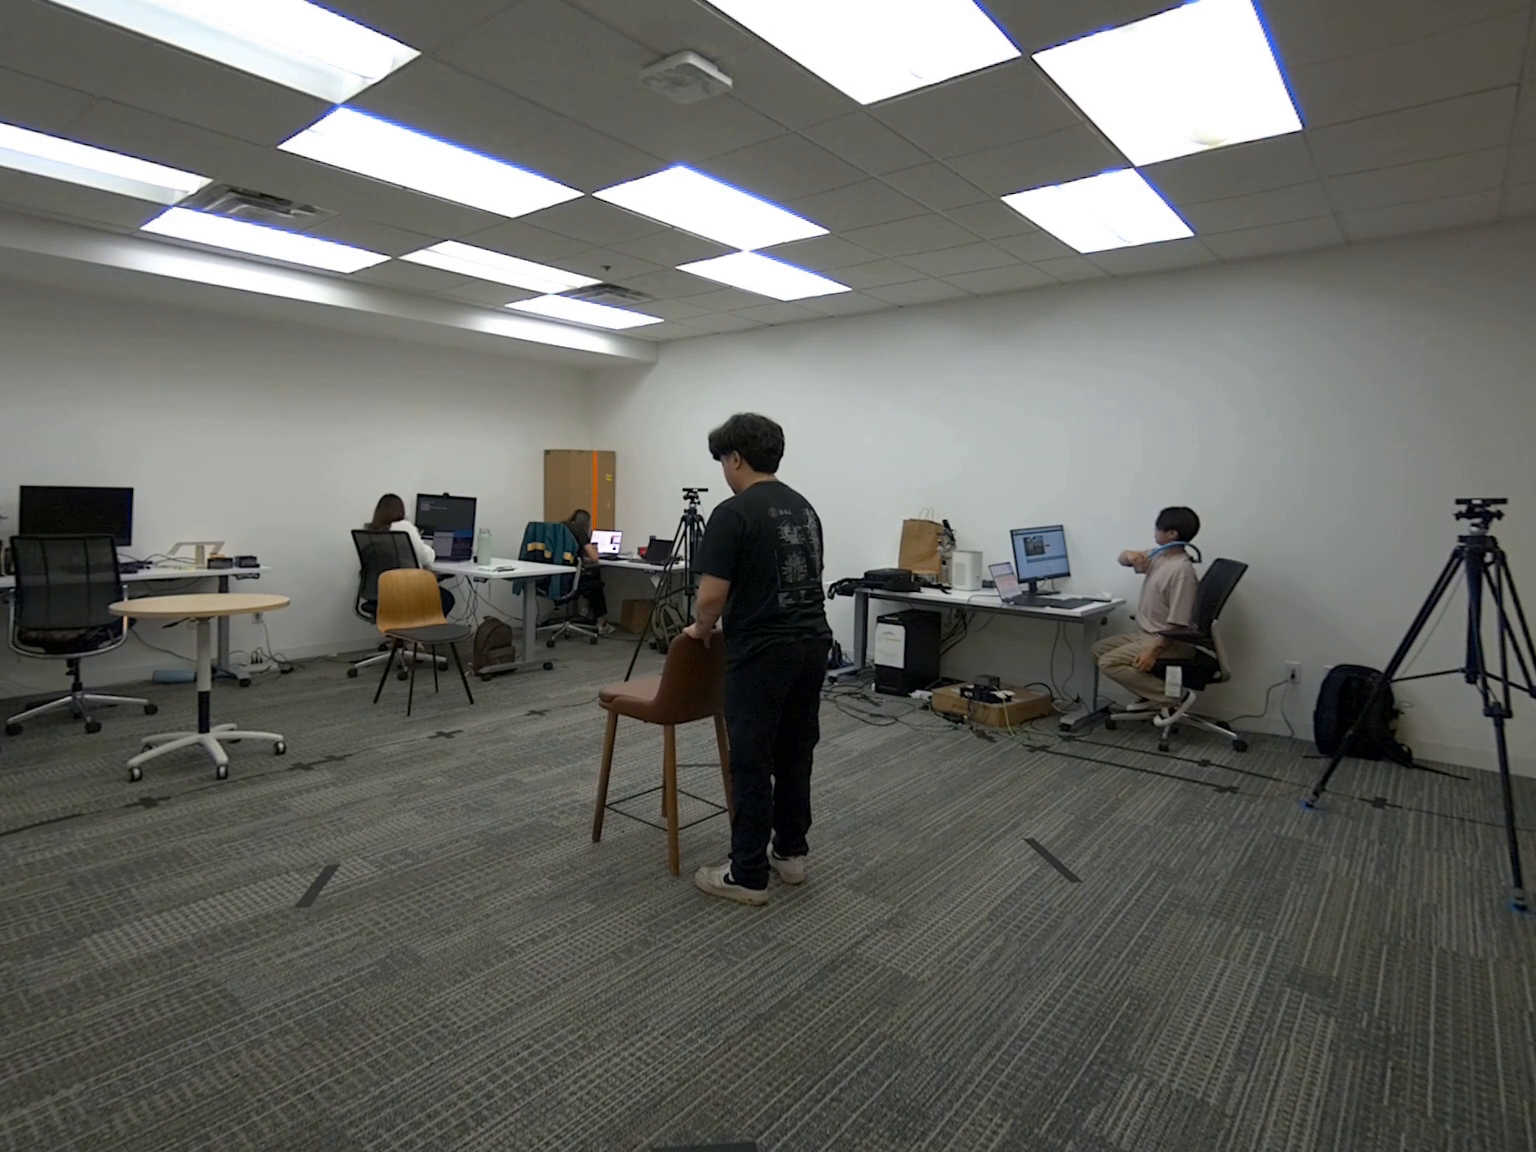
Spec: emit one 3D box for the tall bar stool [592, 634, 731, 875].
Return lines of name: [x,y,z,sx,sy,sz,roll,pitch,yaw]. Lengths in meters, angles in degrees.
tall bar stool: [-0.386,0.610,3.309,0.484,0.886,0.442,6,6,40]
